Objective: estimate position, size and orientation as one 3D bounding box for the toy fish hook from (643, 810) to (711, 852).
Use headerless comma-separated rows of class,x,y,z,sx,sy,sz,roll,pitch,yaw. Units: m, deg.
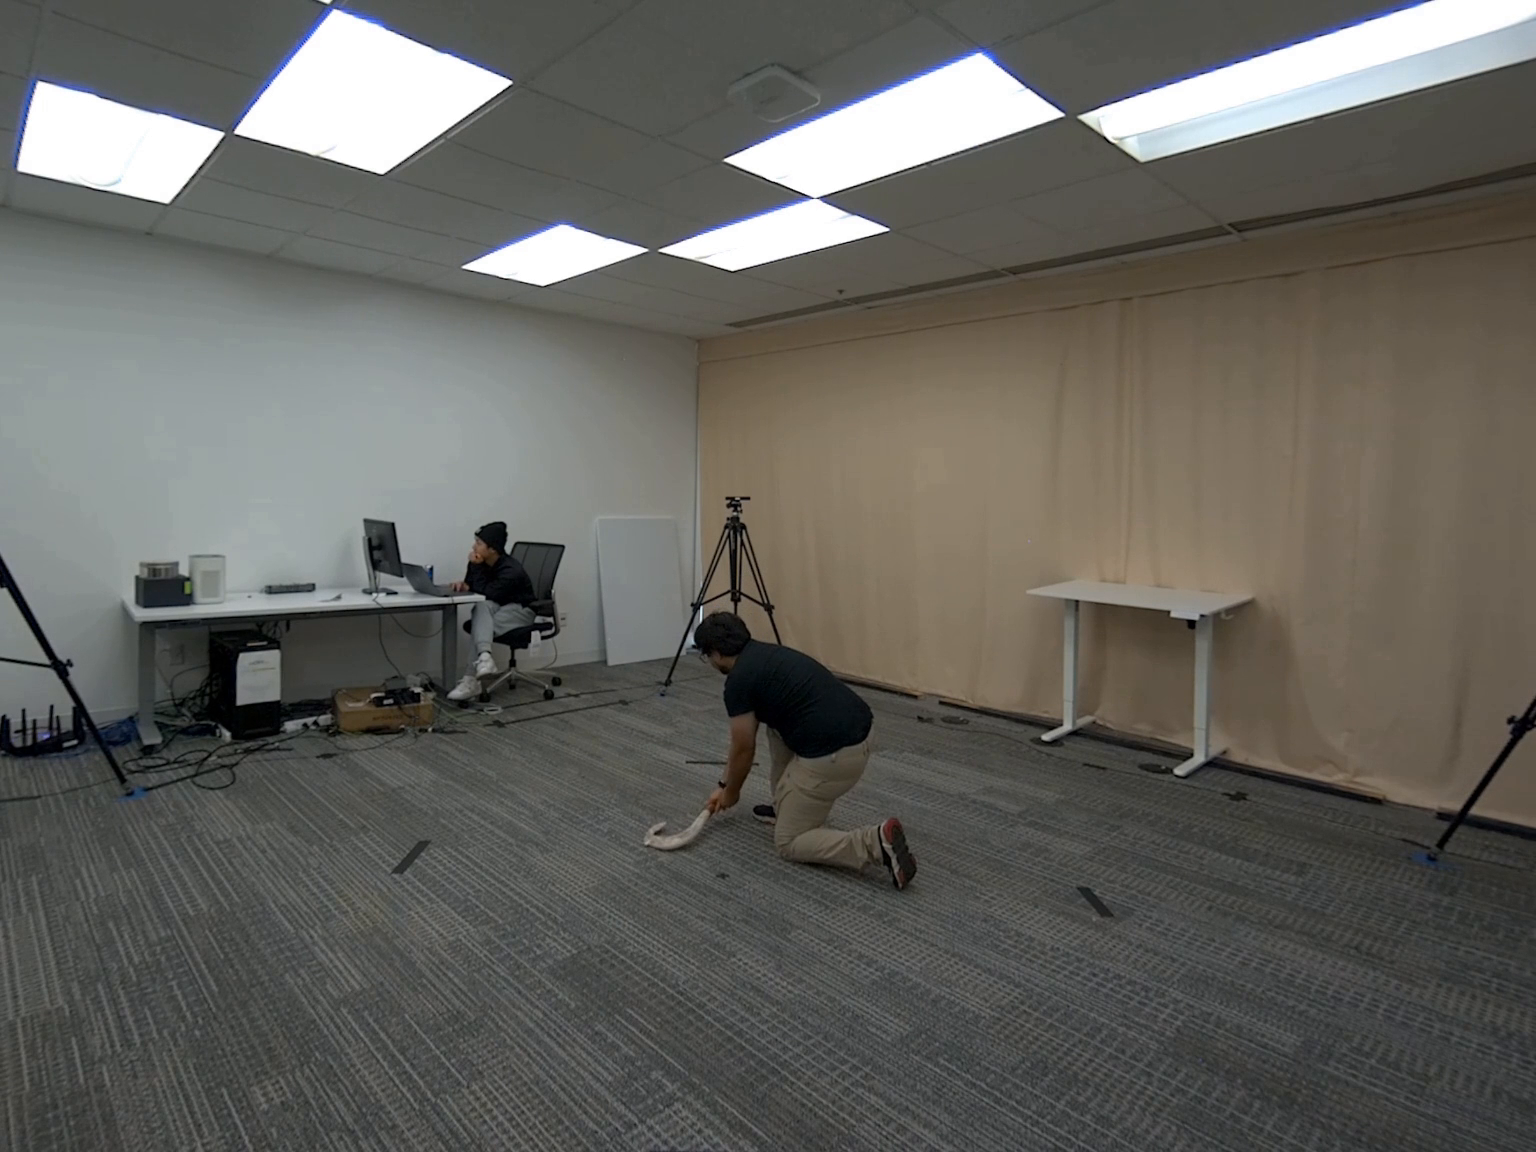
toy fish hook,-0.325,1.013,3.538,0.230,0.048,0.499,1,11,34
